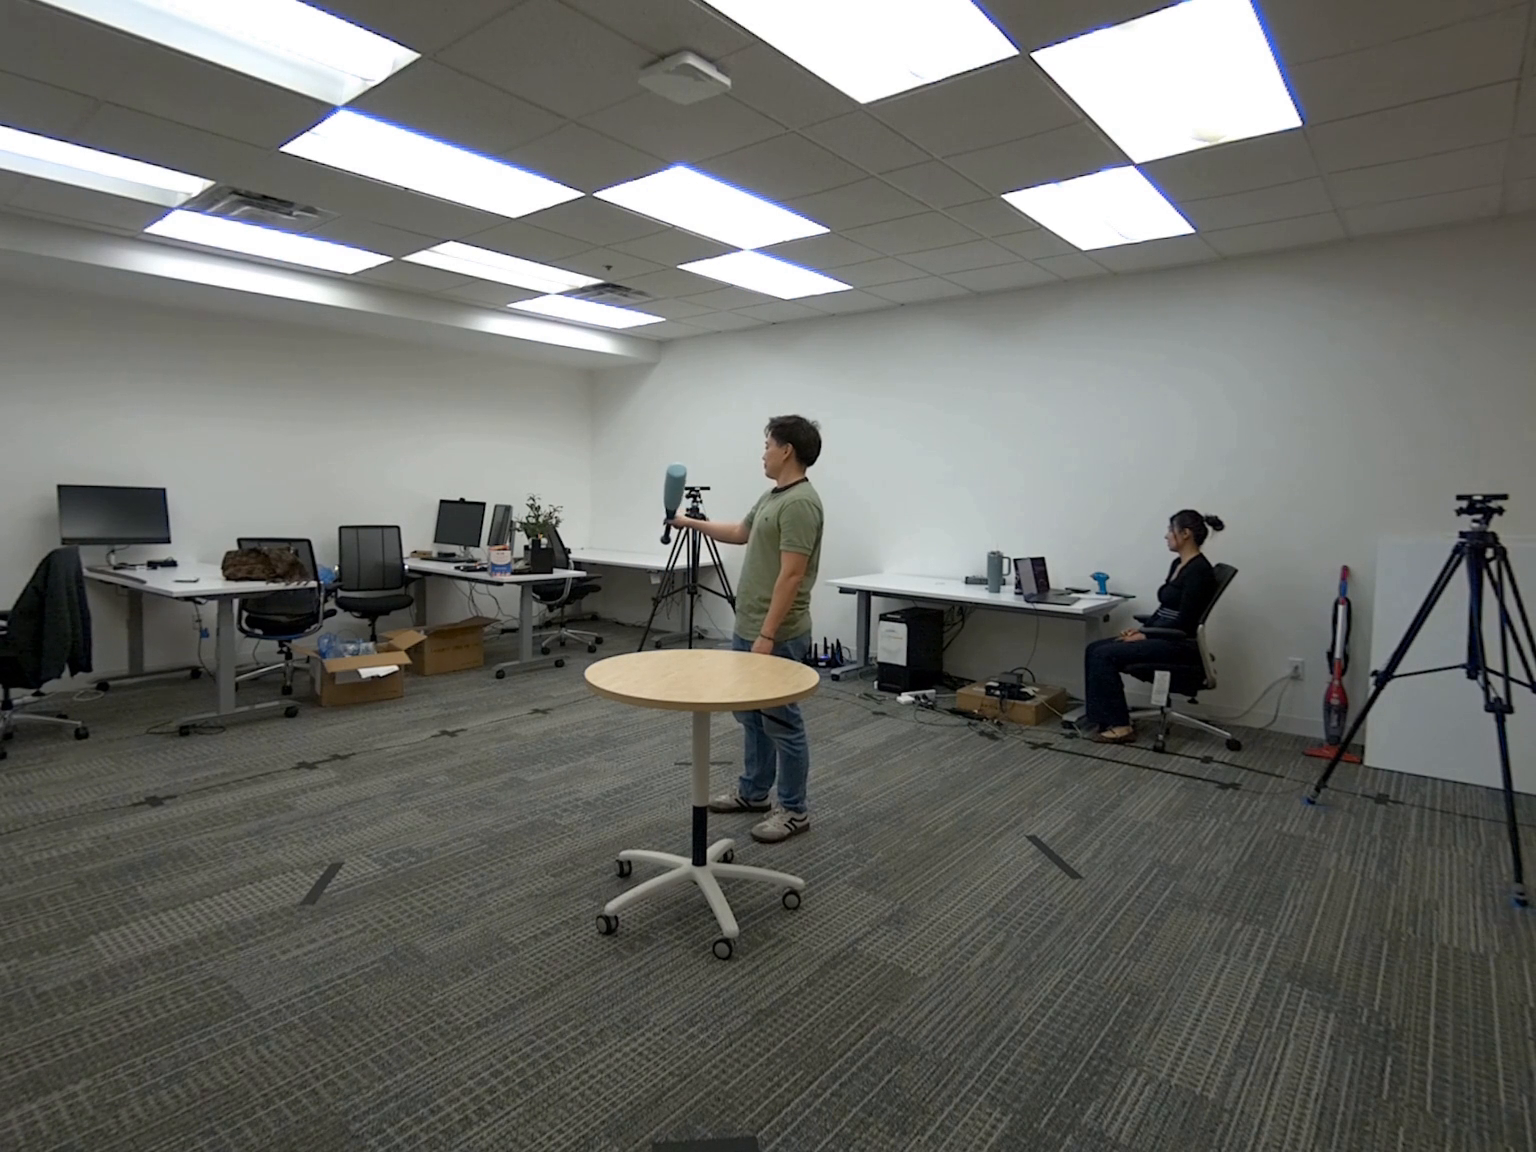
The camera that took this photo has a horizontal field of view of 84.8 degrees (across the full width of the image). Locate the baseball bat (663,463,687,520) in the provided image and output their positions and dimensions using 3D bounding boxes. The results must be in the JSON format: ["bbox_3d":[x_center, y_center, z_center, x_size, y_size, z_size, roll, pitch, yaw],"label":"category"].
[{"bbox_3d":[-0.443,-0.306,3.758,0.088,0.092,0.534,1,-33,-14],"label":"baseball bat"}]
